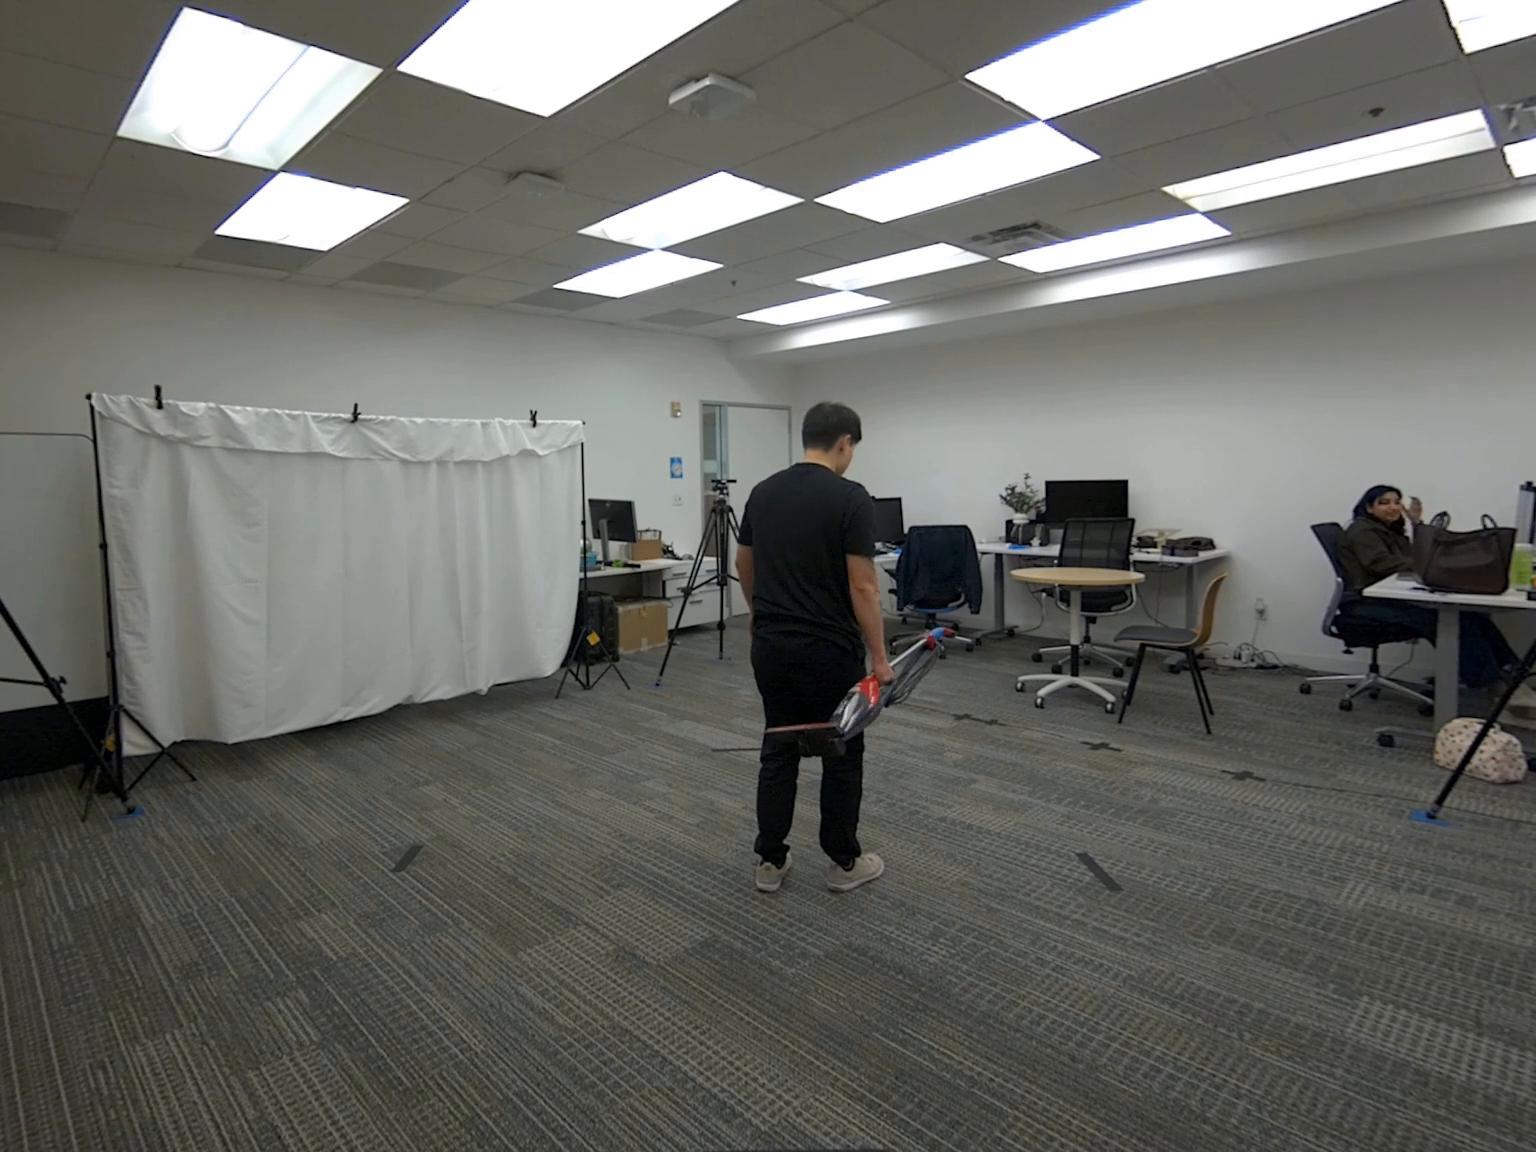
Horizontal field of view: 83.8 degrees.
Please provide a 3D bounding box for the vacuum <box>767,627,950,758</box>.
[{"bbox_3d":[0.437,0.358,2.842,0.258,0.143,1.031,-12,6,38],"label":"vacuum"}]
